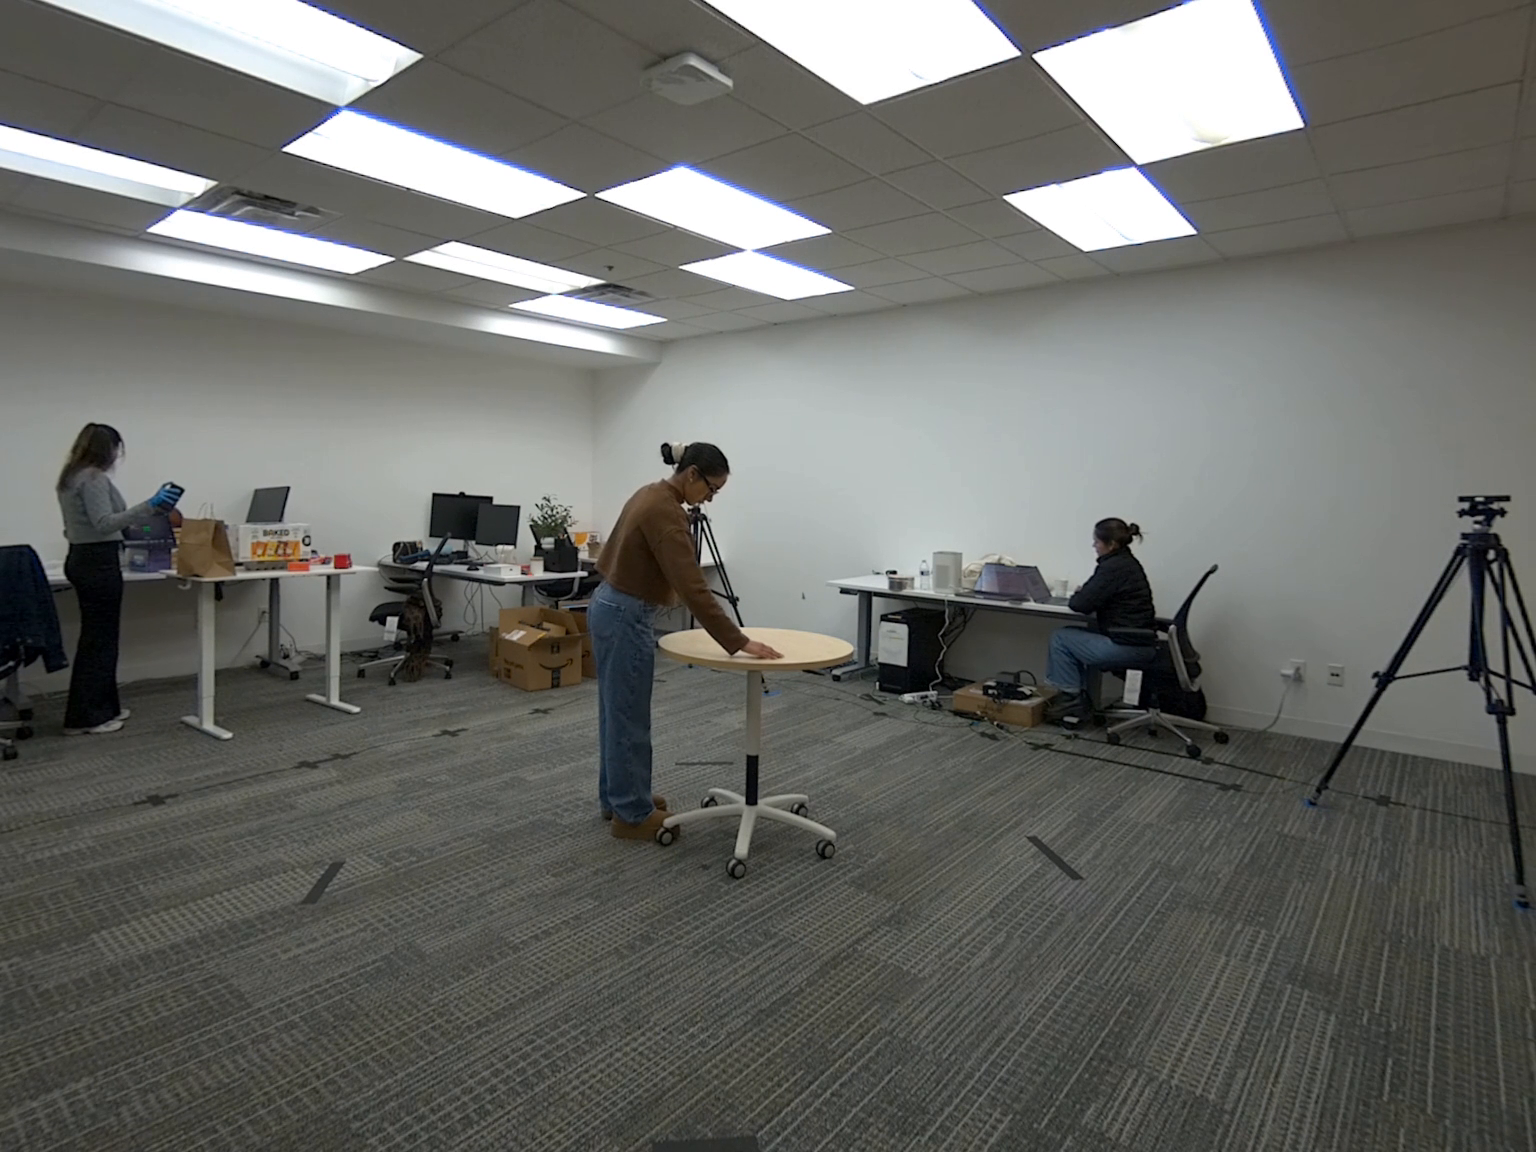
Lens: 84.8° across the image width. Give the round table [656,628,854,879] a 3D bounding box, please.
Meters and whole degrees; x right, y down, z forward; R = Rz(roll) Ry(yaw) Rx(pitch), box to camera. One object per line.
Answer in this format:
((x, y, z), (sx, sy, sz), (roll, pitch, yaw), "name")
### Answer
((-0.065, 0.656, 3.366), (0.763, 0.791, 0.768), (1, 4, -2), "round table")
